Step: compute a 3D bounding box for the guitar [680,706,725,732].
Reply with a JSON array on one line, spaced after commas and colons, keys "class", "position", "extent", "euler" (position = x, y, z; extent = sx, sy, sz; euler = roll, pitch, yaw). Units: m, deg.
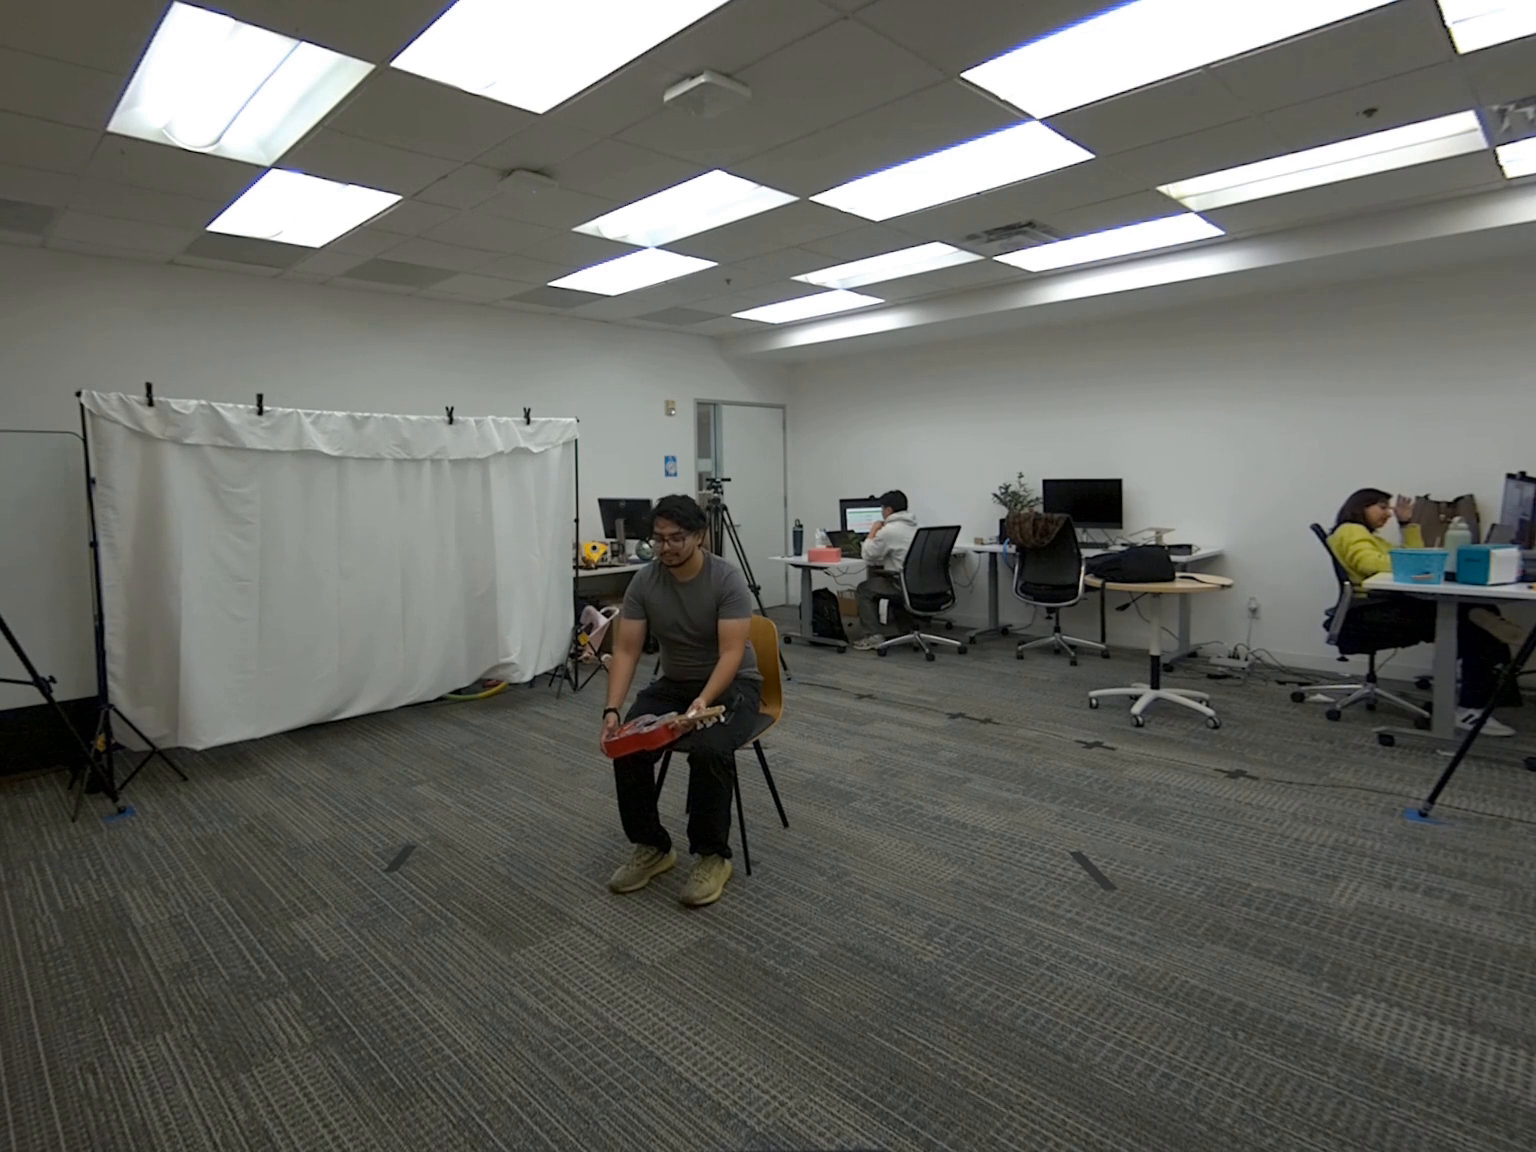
[{"class": "guitar", "position": [-0.343, 0.495, 2.660], "extent": [0.190, 0.070, 0.506], "euler": [-27, 6, -39]}]
